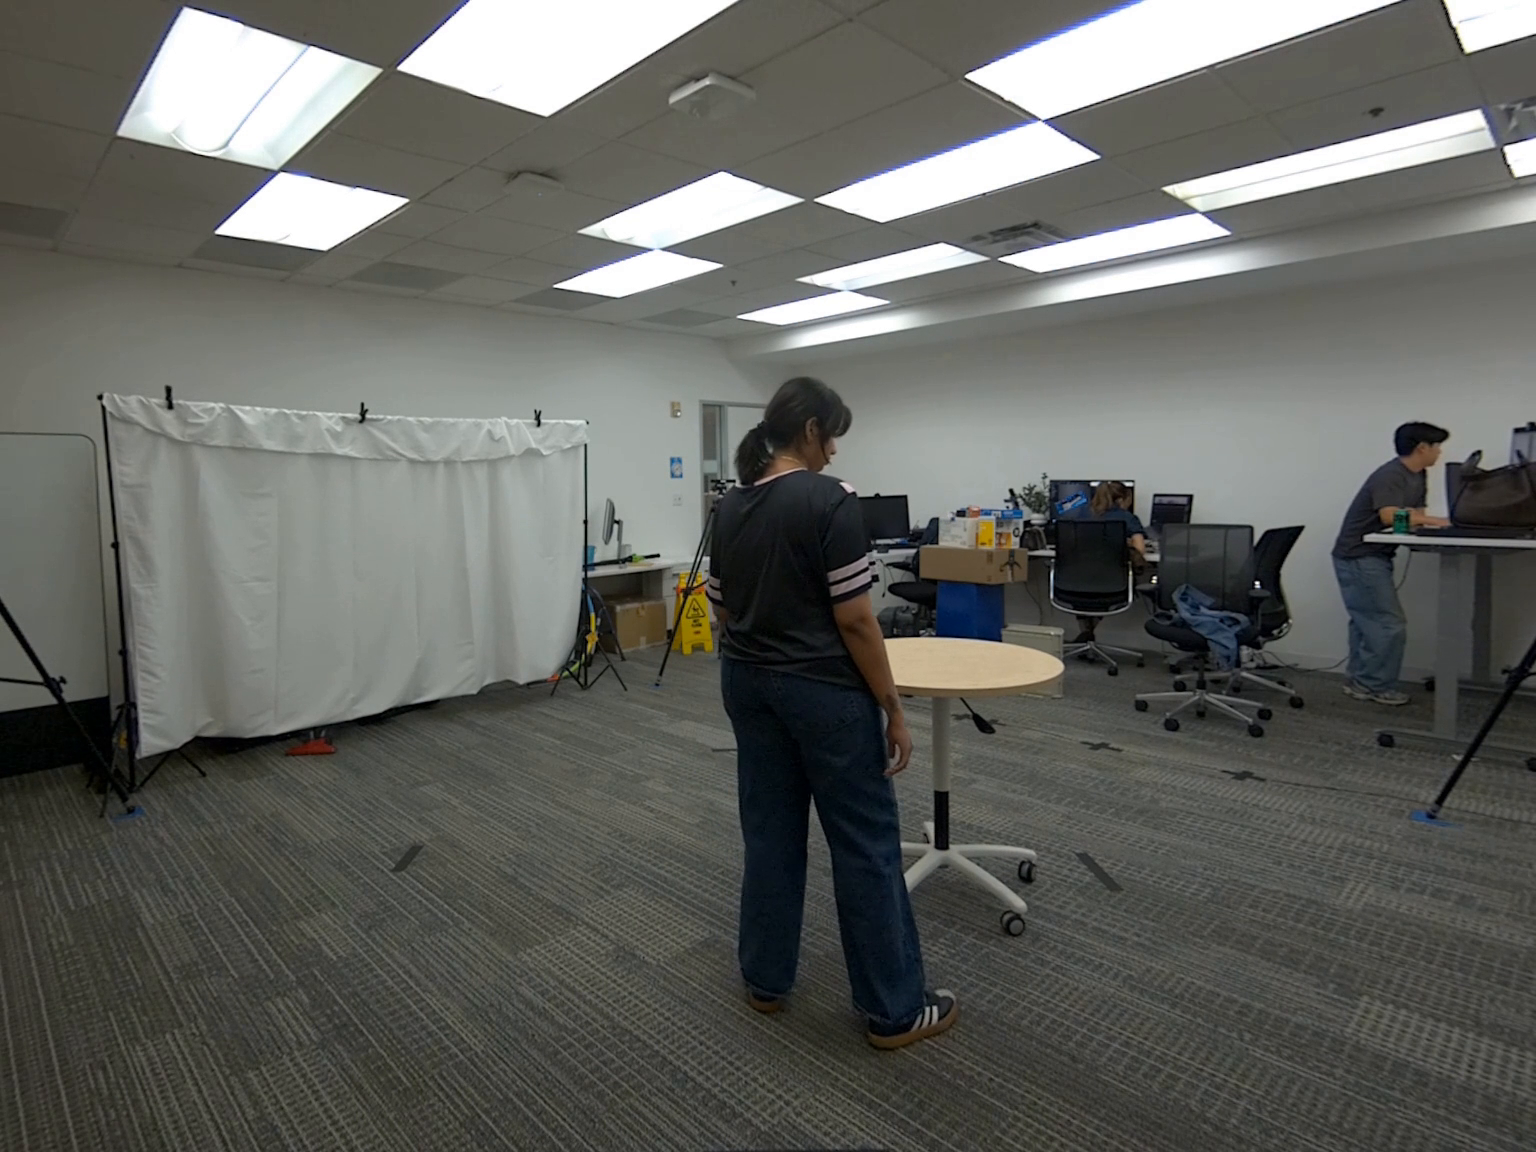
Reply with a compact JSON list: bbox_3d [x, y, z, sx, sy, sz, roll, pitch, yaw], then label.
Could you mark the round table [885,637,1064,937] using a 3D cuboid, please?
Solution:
[{"bbox_3d":[0.589,0.674,2.877,0.763,0.791,0.768,-1,5,-2],"label":"round table"}]
